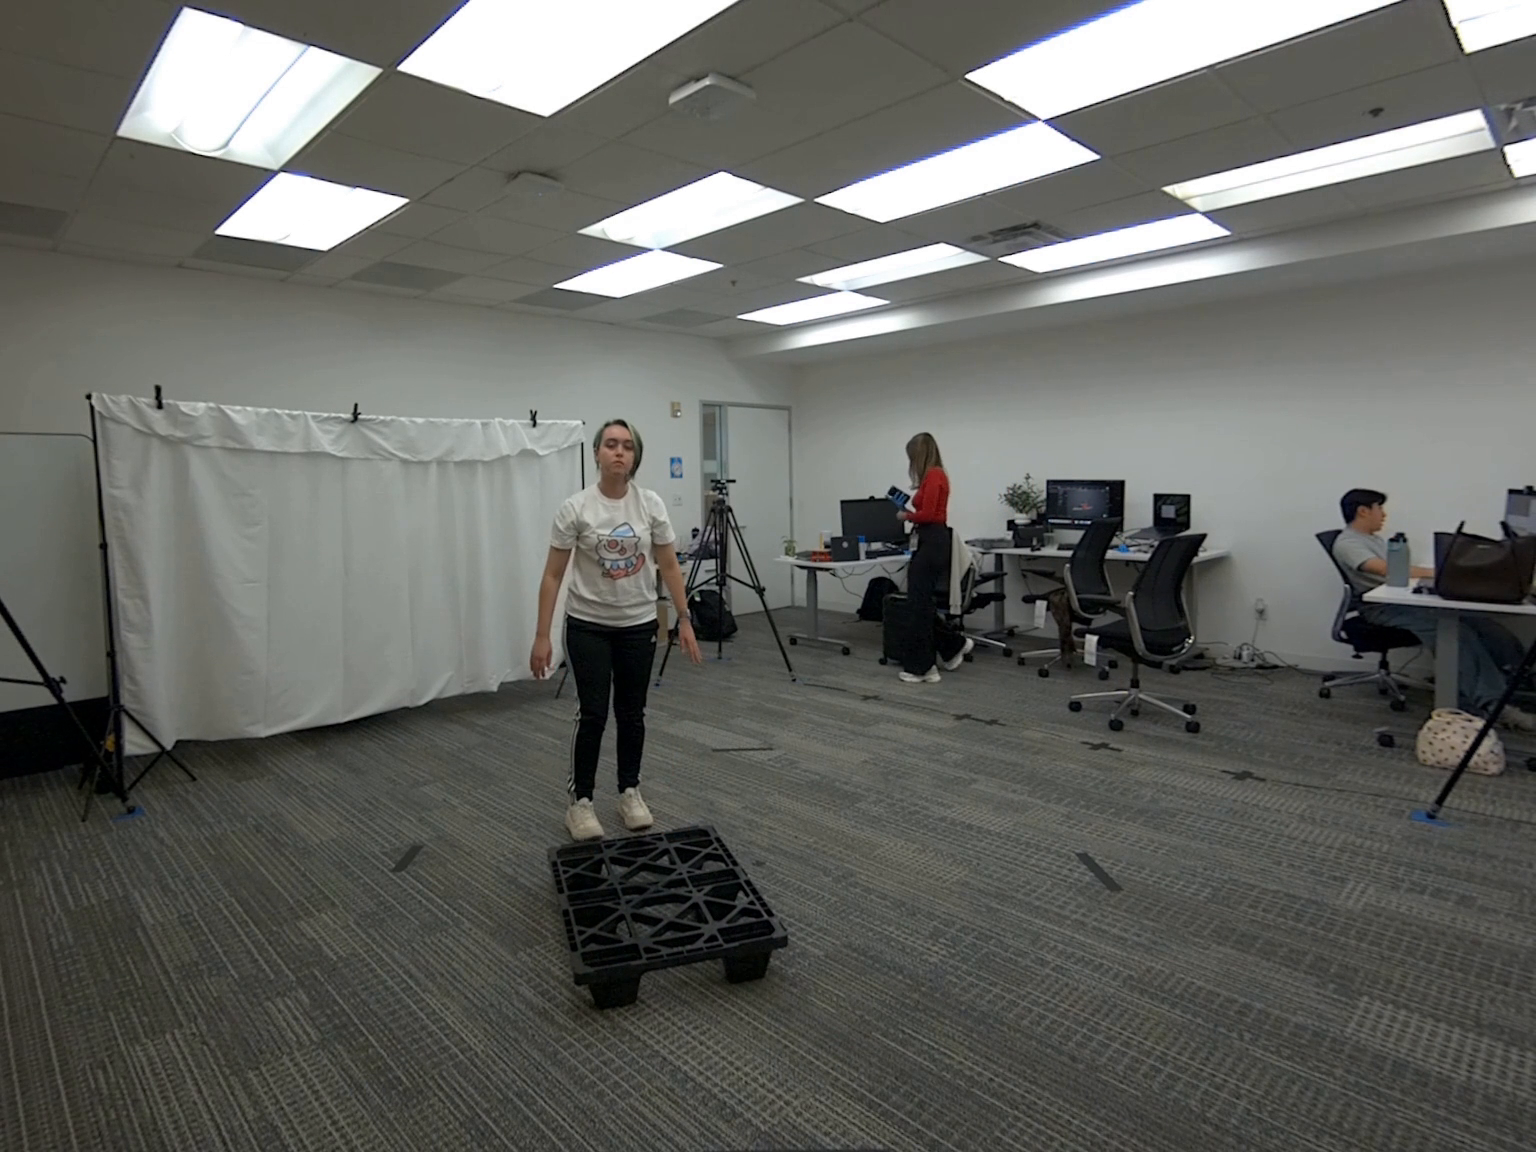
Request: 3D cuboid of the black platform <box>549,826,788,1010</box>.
[{"bbox_3d":[-0.351,1.035,2.677,0.596,0.142,0.822,-4,7,-18],"label":"black platform"}]
